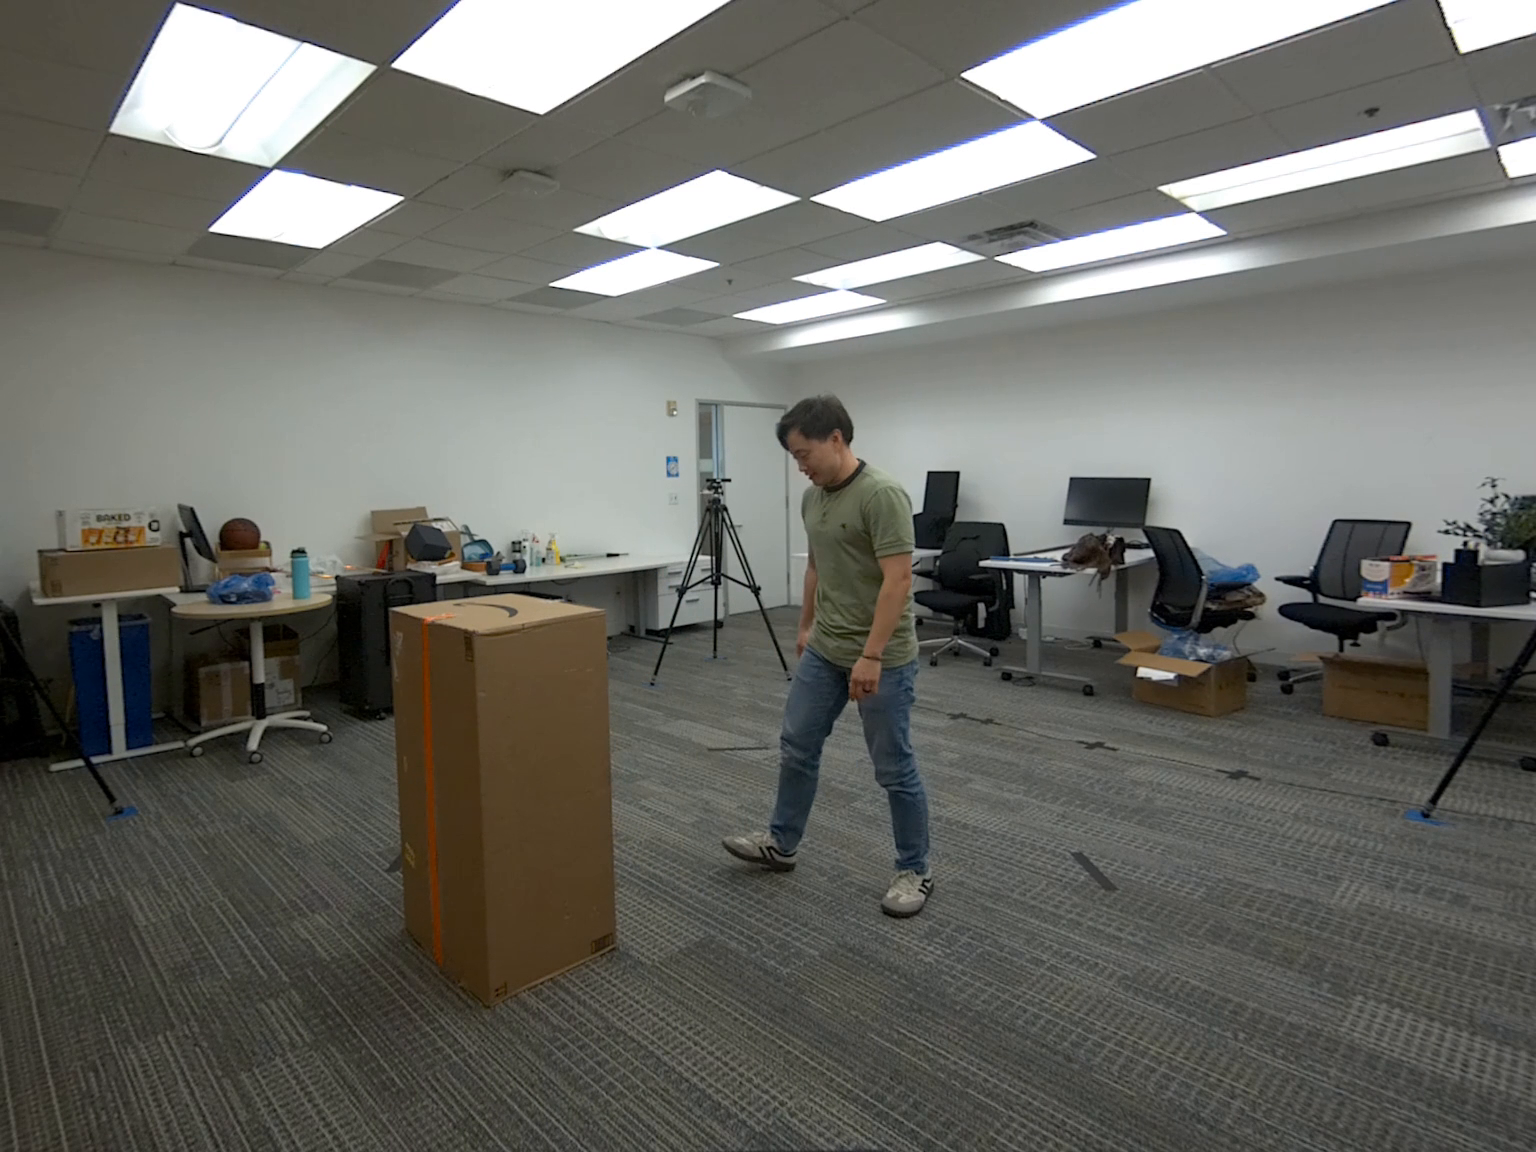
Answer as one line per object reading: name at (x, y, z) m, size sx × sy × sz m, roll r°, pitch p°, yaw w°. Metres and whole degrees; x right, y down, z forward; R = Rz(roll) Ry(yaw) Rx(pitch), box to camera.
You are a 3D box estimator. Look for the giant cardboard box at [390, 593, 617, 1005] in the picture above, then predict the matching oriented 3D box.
giant cardboard box at (-0.810, 0.609, 2.590) m, size 0.415 × 1.022 × 0.595 m, roll -6°, pitch 6°, yaw -44°
